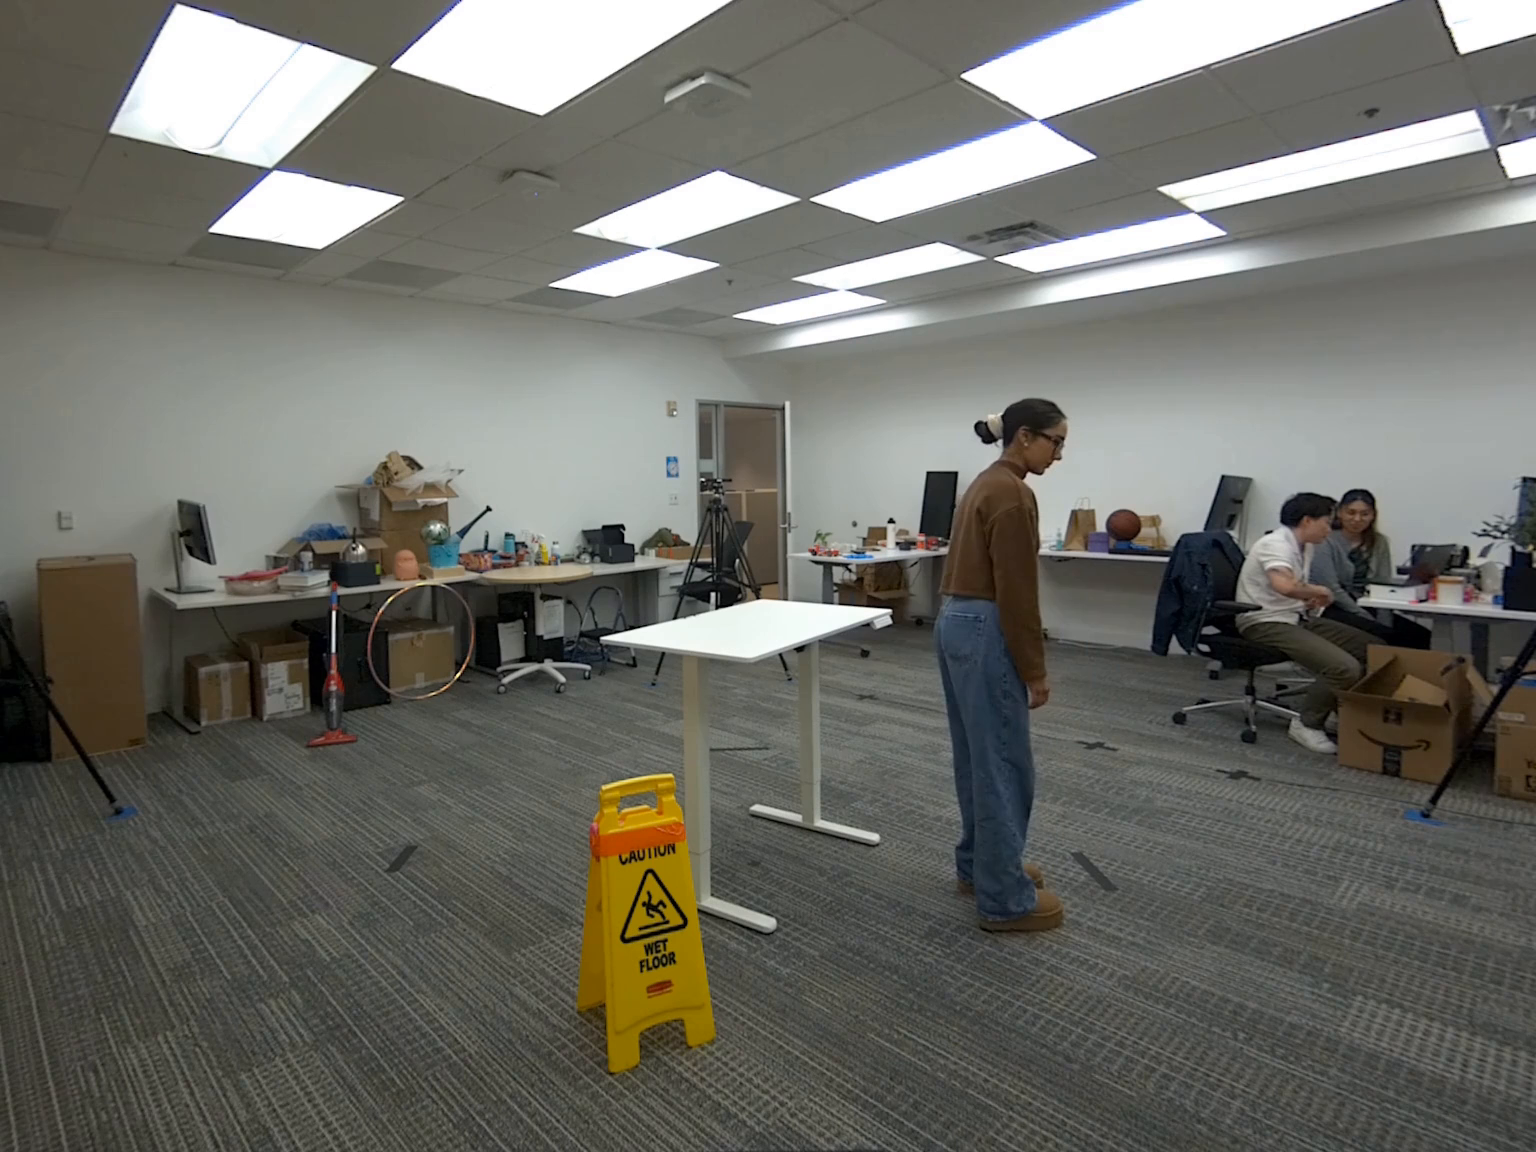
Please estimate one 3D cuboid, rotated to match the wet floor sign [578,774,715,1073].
[{"bbox_3d":[-0.318,0.839,2.175,0.276,0.643,0.297,-3,5,-27],"label":"wet floor sign"}]
